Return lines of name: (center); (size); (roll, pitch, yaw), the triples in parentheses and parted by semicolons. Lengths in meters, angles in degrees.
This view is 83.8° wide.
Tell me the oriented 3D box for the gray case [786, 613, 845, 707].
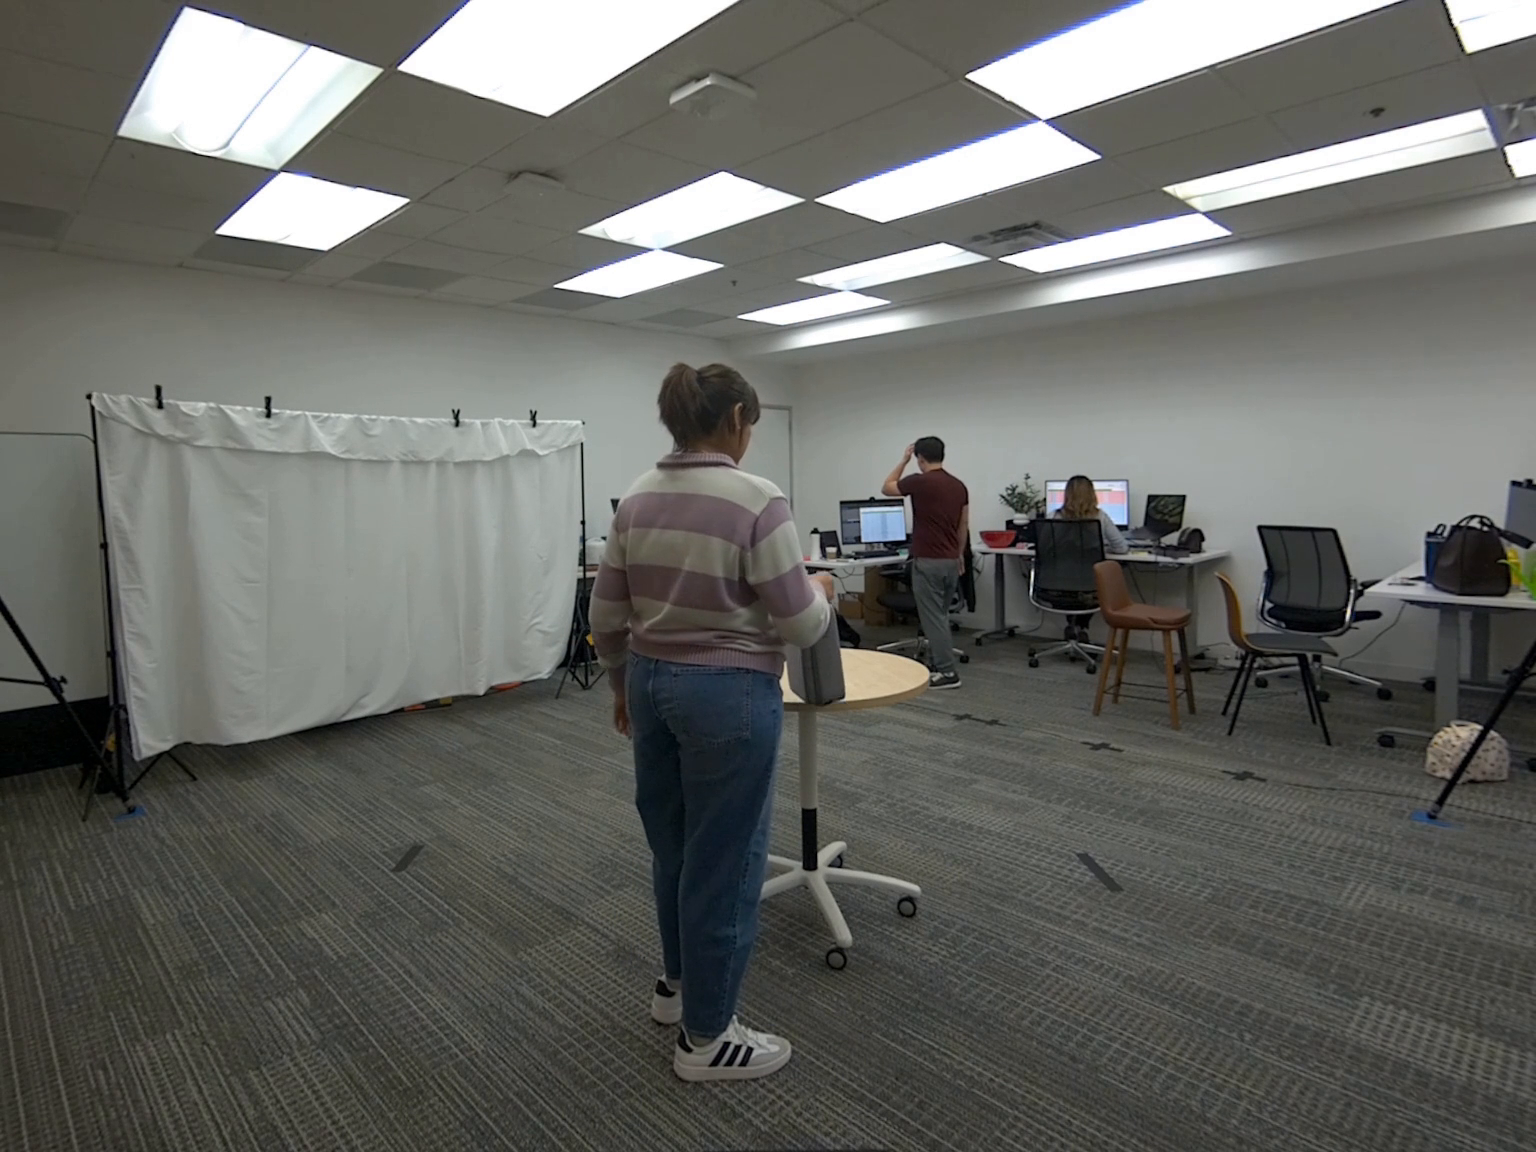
gray case: (0.116, 0.192, 2.231); (0.104, 0.260, 0.259); (-8, 4, -8)
